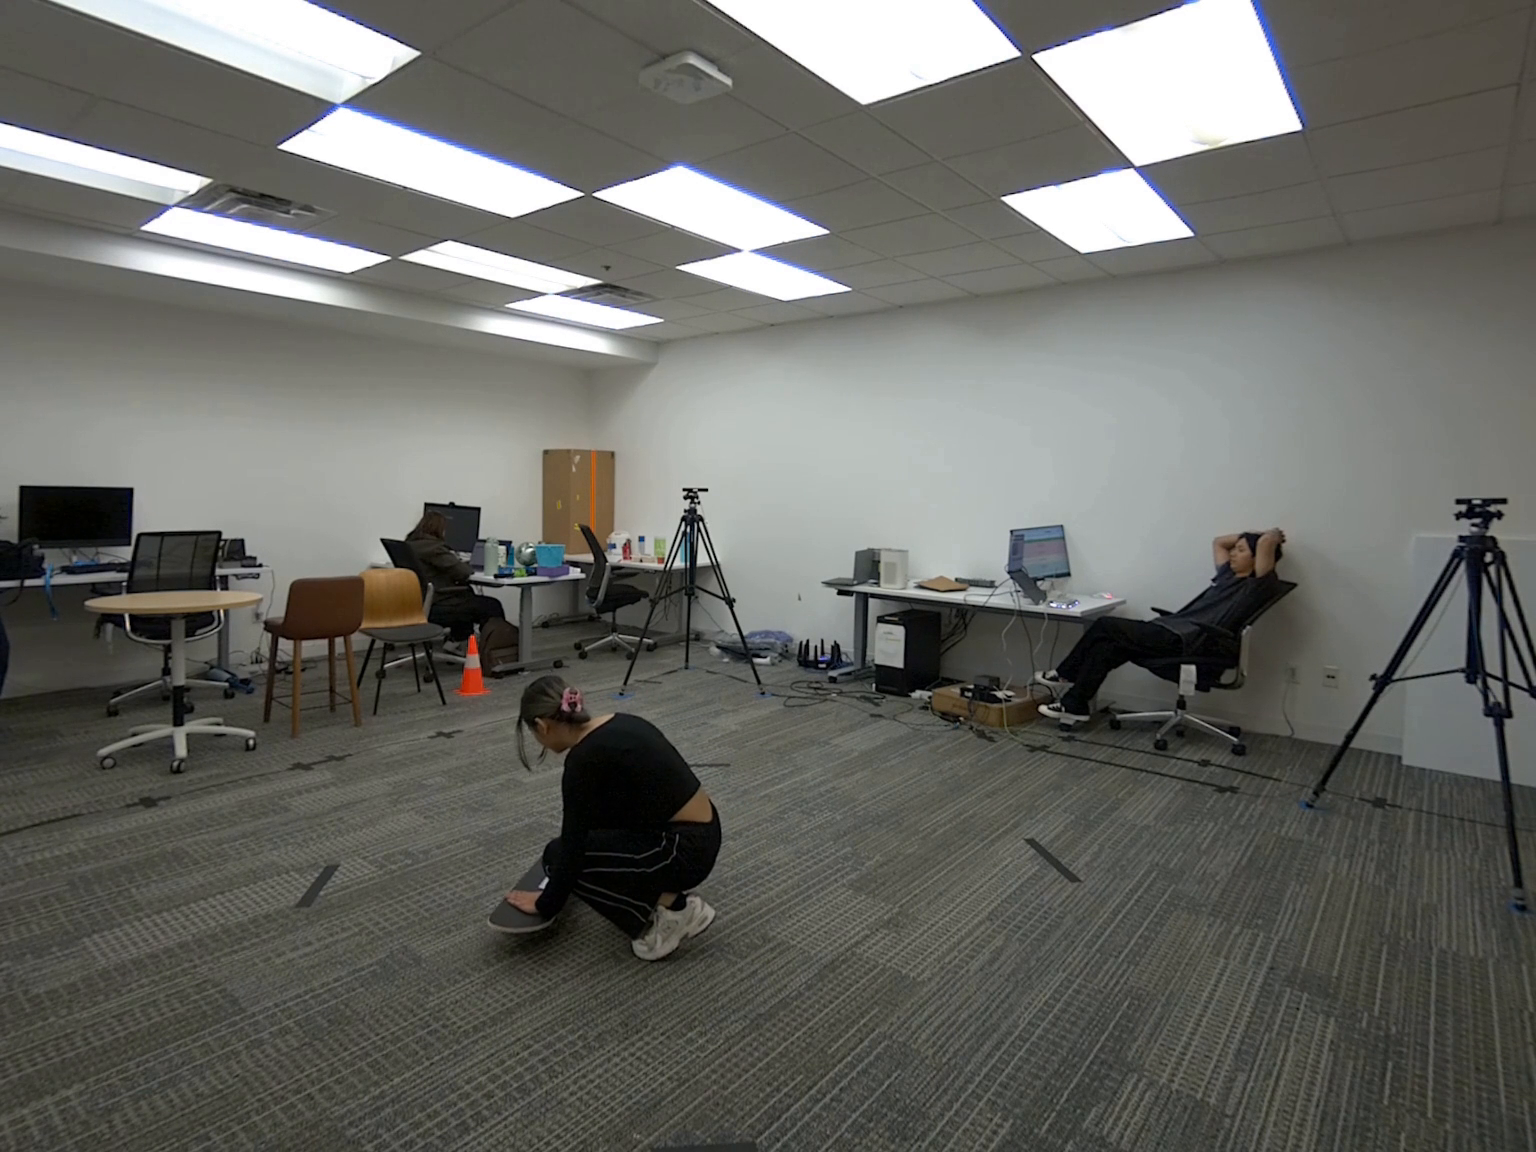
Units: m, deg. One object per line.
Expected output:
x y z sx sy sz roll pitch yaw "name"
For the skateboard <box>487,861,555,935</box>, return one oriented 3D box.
-0.719 1.023 2.853 0.195 0.110 0.782 2 6 6 "skateboard"
